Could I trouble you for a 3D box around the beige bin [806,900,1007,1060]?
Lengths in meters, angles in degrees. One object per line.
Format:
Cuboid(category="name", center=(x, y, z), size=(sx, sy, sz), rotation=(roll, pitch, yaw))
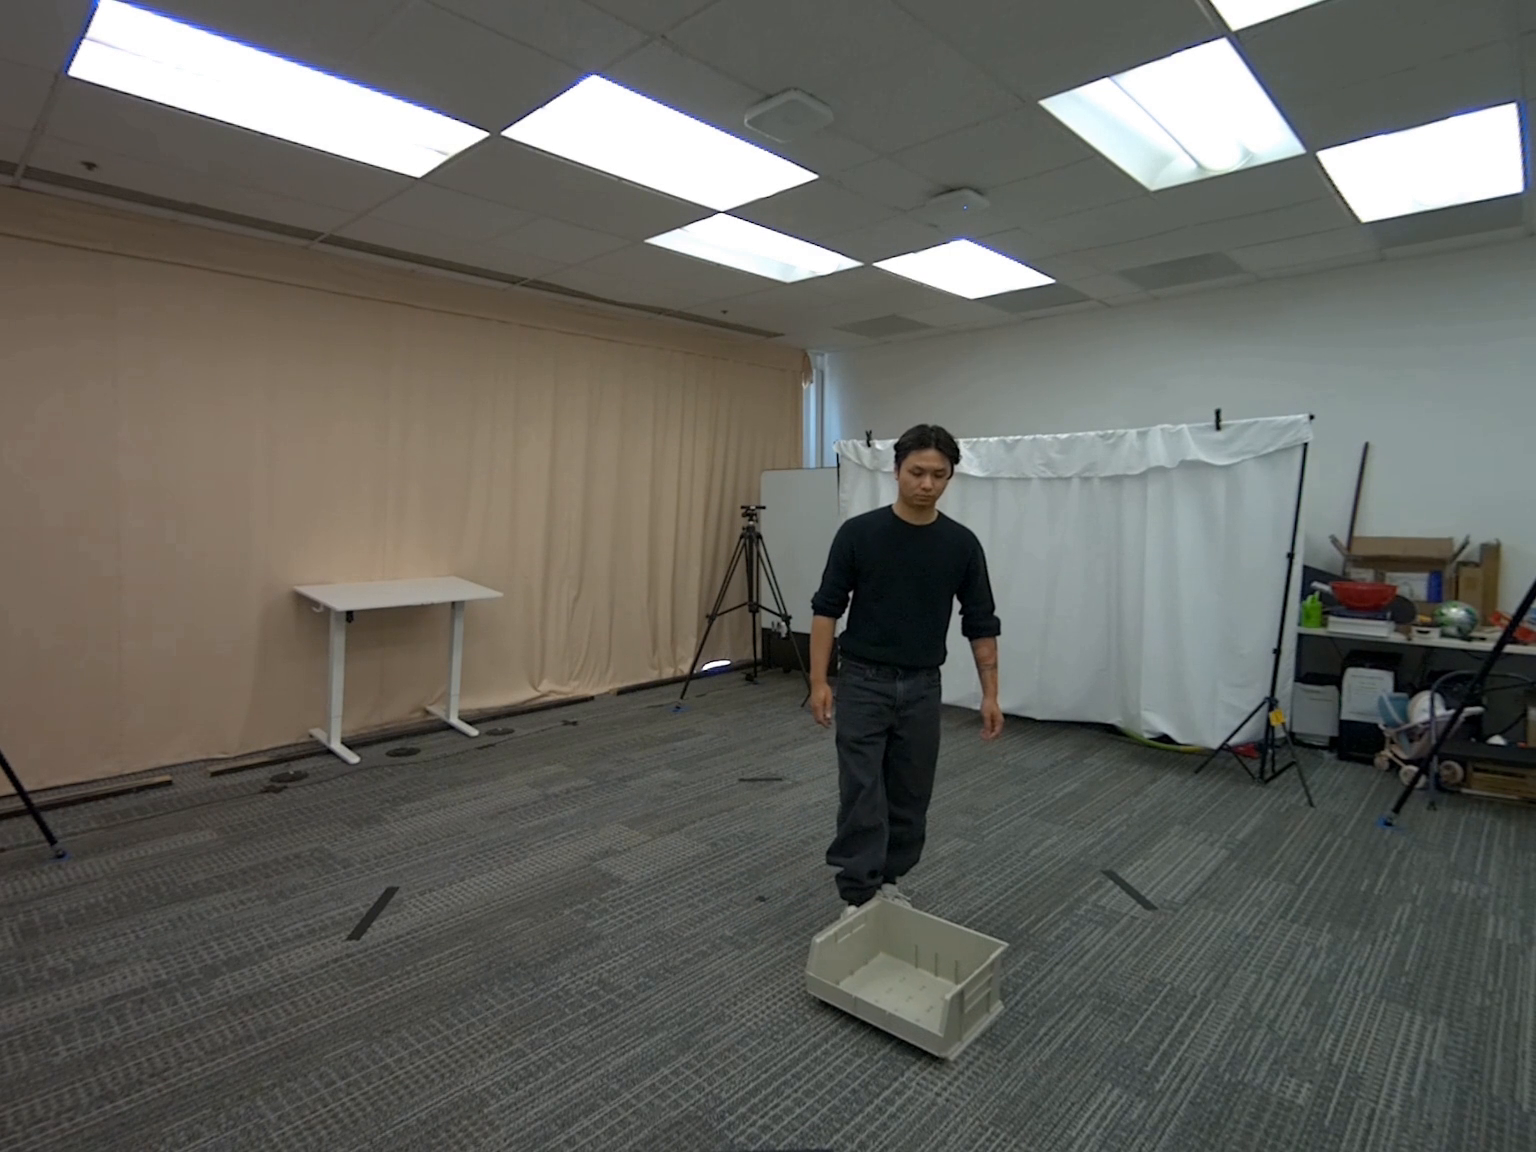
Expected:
Cuboid(category="beige bin", center=(0.386, 1.102, 2.341), size=(0.436, 0.188, 0.366), rotation=(3, 5, 41))
